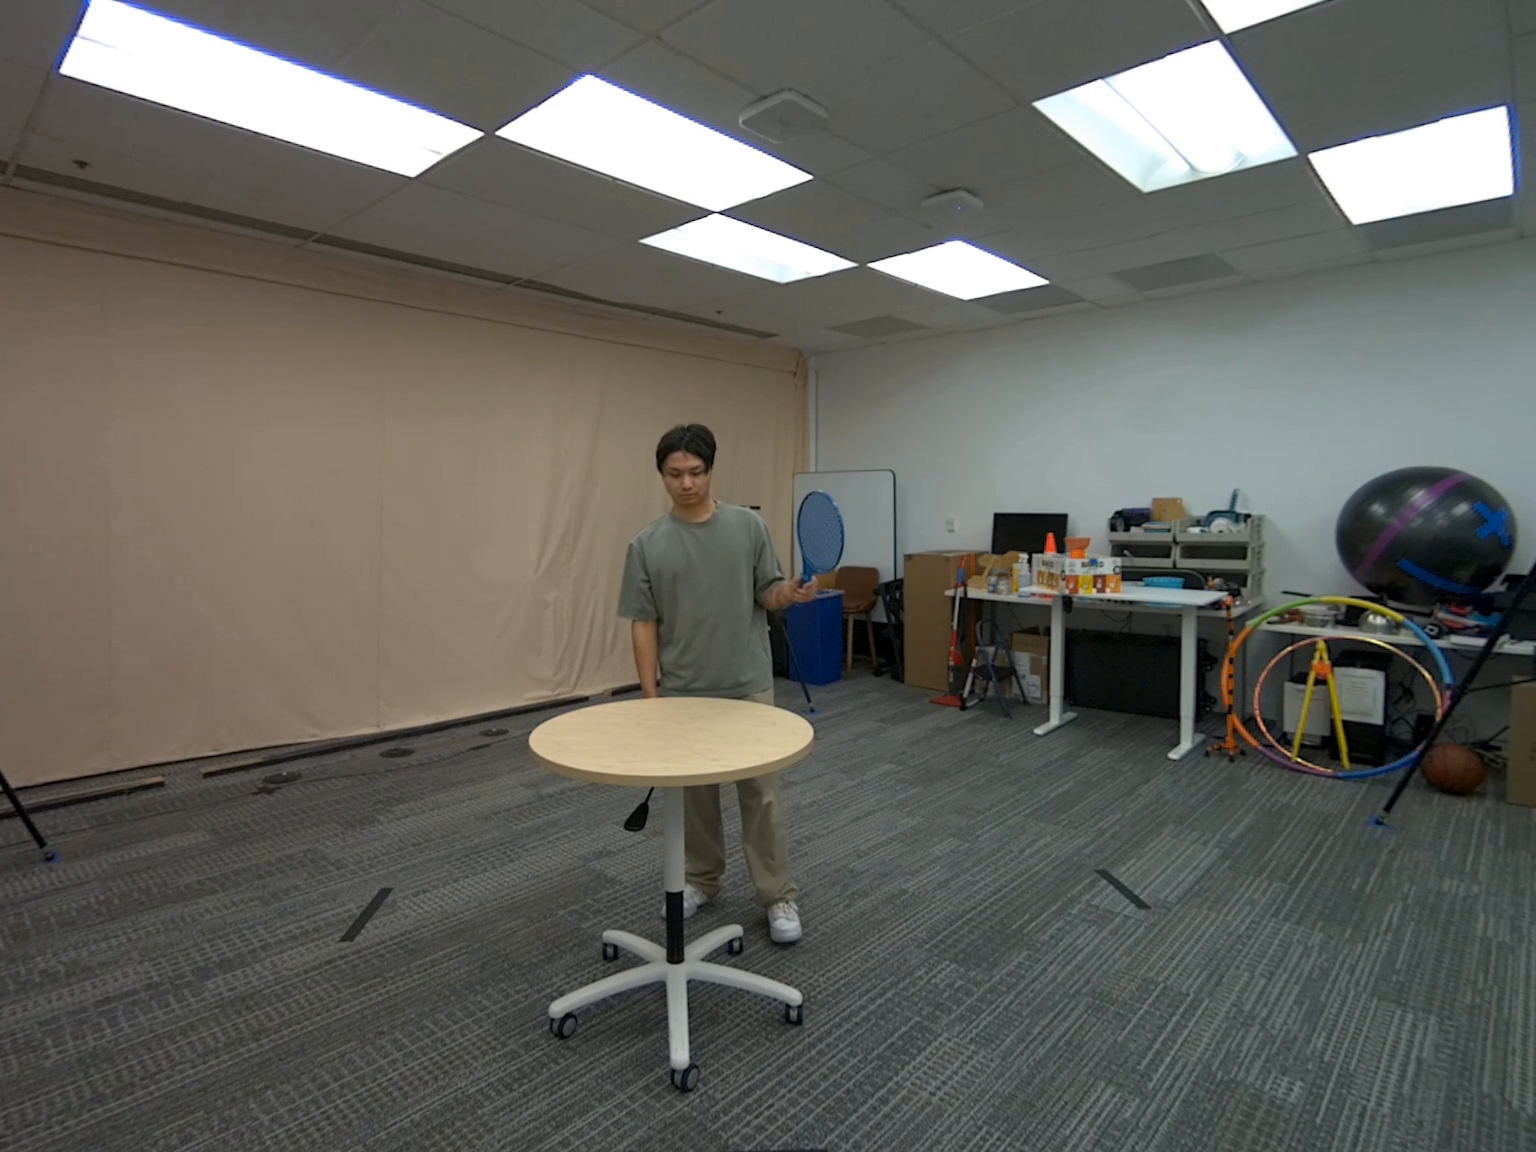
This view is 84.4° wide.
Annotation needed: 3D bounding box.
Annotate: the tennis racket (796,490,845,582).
[{"bbox_3d":[0.135,-0.064,2.483,0.031,0.428,0.221,-13,50,-28],"label":"tennis racket"}]
